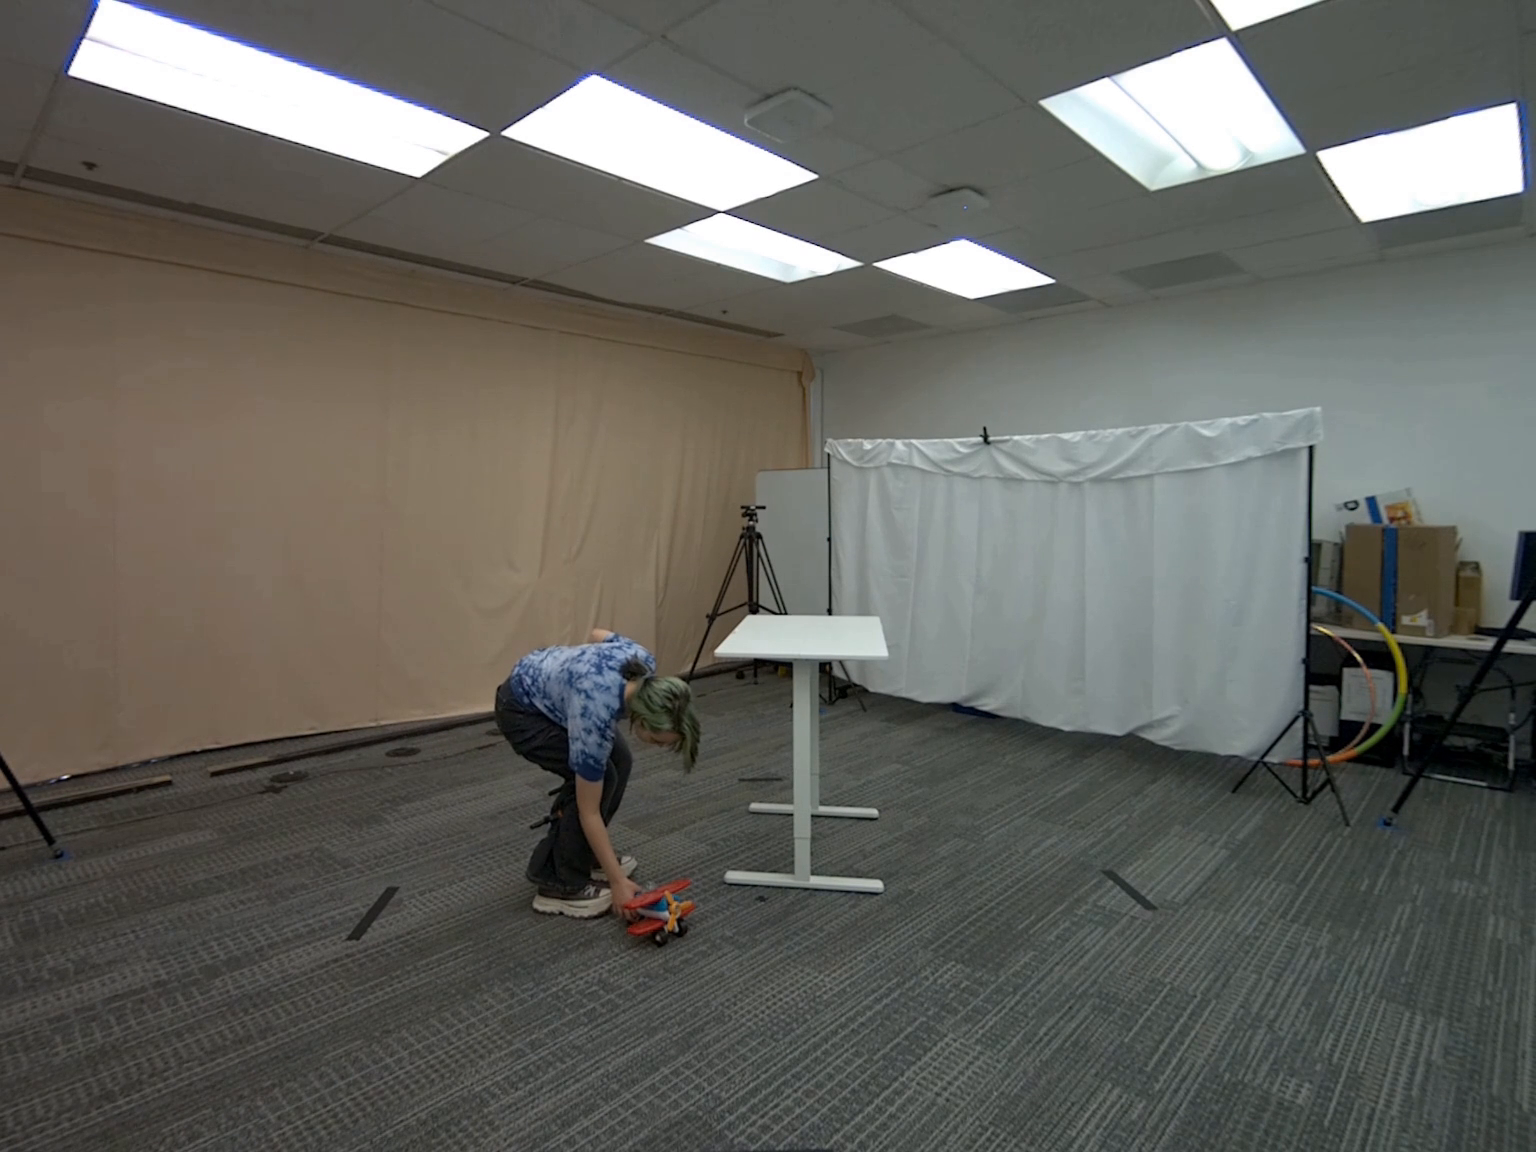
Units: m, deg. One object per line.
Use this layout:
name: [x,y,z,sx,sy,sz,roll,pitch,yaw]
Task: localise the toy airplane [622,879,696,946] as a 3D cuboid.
toy airplane: [-0.389,1.095,2.742,0.264,0.156,0.247,3,5,17]
